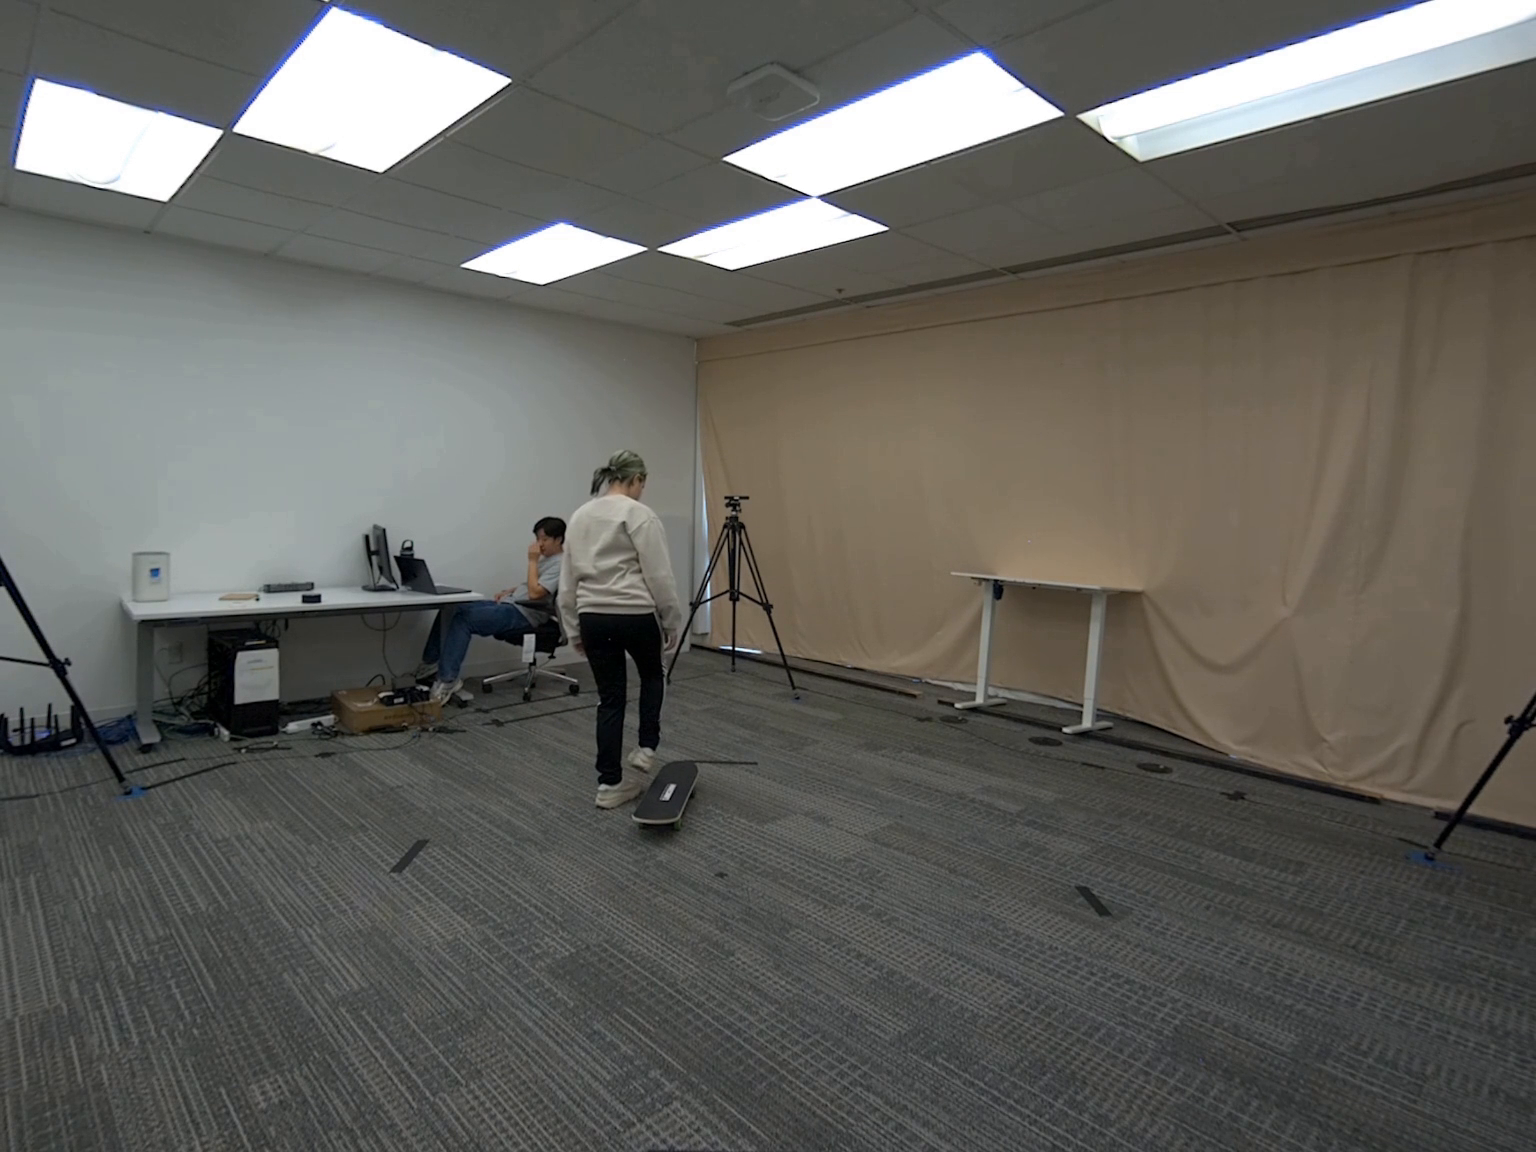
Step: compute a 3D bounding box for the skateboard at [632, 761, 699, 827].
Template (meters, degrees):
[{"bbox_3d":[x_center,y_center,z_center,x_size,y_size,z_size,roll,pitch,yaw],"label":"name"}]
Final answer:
[{"bbox_3d":[-0.452,0.984,3.711,0.194,0.110,0.784,1,5,4],"label":"skateboard"}]
